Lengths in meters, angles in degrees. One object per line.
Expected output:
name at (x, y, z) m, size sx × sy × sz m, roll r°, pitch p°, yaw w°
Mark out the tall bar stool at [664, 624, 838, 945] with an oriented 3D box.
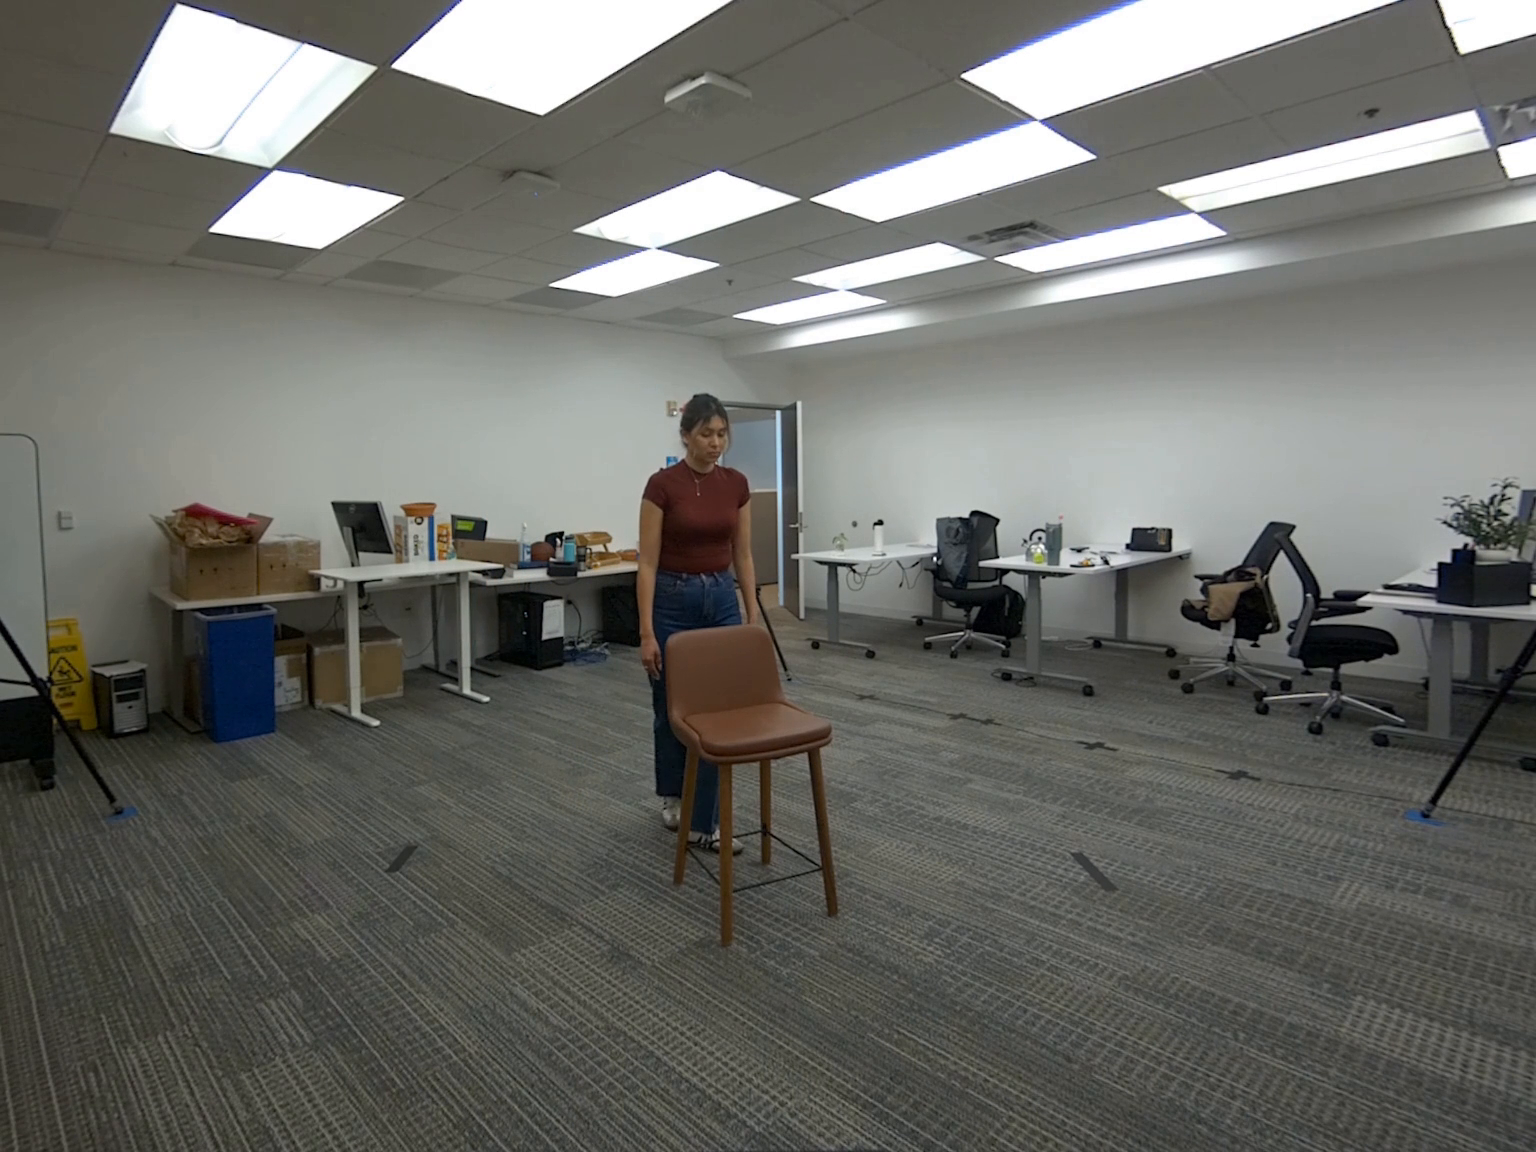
tall bar stool at (-0.067, 0.641, 2.823) m, size 0.446 × 0.888 × 0.479 m, roll -2°, pitch 3°, yaw -27°
